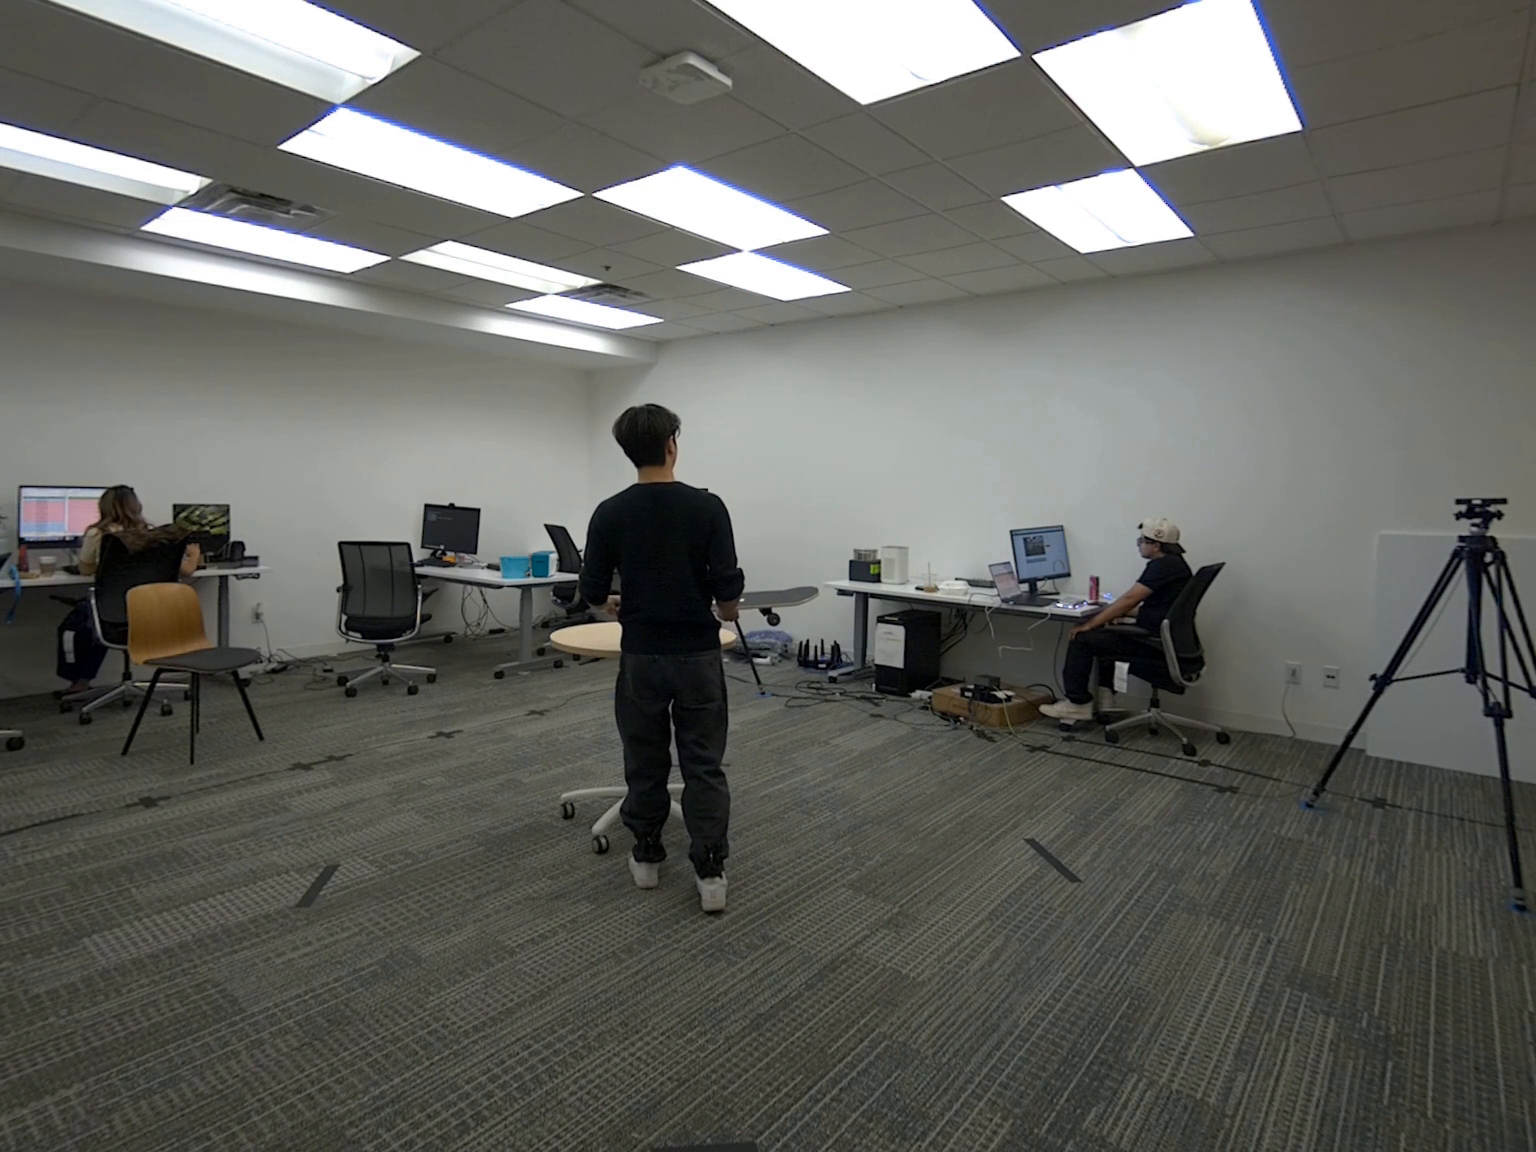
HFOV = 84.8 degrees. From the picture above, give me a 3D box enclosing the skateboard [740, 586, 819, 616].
[{"bbox_3d":[-0.211,0.131,3.236,0.778,0.109,0.197,-4,13,-9],"label":"skateboard"}]
